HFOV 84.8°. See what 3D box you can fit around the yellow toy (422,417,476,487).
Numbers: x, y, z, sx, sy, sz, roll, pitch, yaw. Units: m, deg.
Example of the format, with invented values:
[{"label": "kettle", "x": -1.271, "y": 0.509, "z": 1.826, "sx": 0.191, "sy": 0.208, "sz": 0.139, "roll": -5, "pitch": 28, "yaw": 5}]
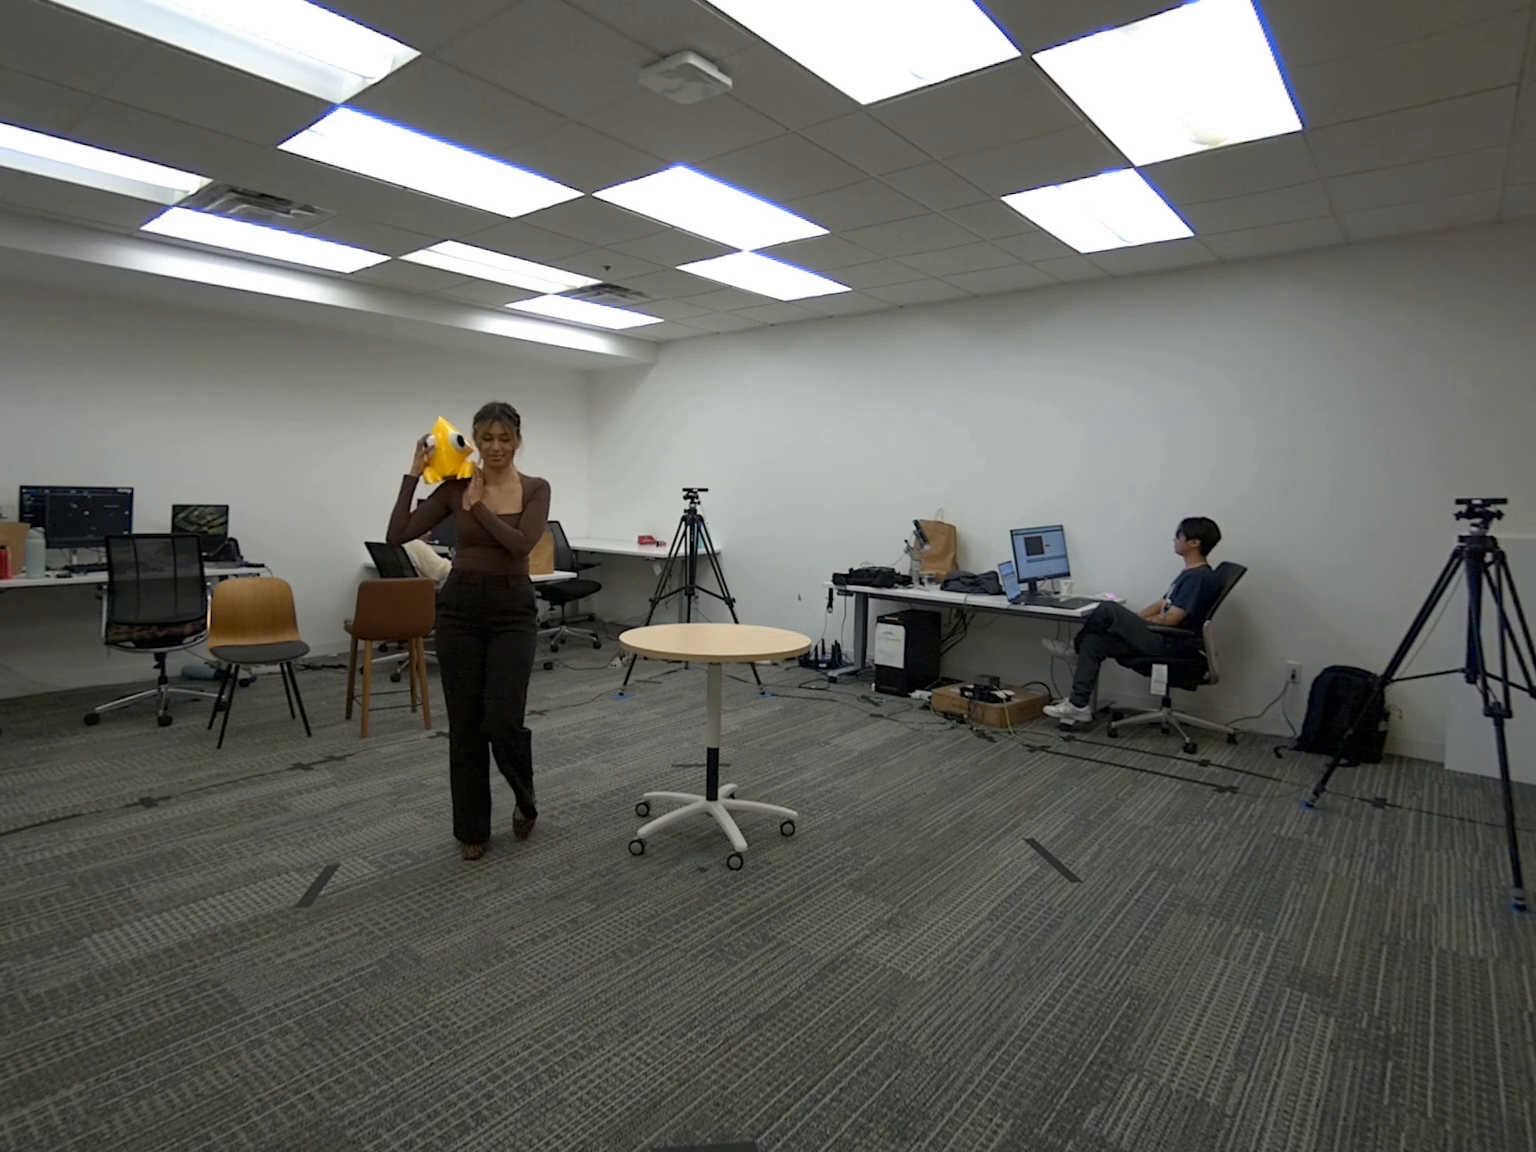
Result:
[{"label": "yellow toy", "x": -1.240, "y": -0.490, "z": 3.227, "sx": 0.203, "sy": 0.227, "sz": 0.198, "roll": -12, "pitch": 17, "yaw": -10}]
